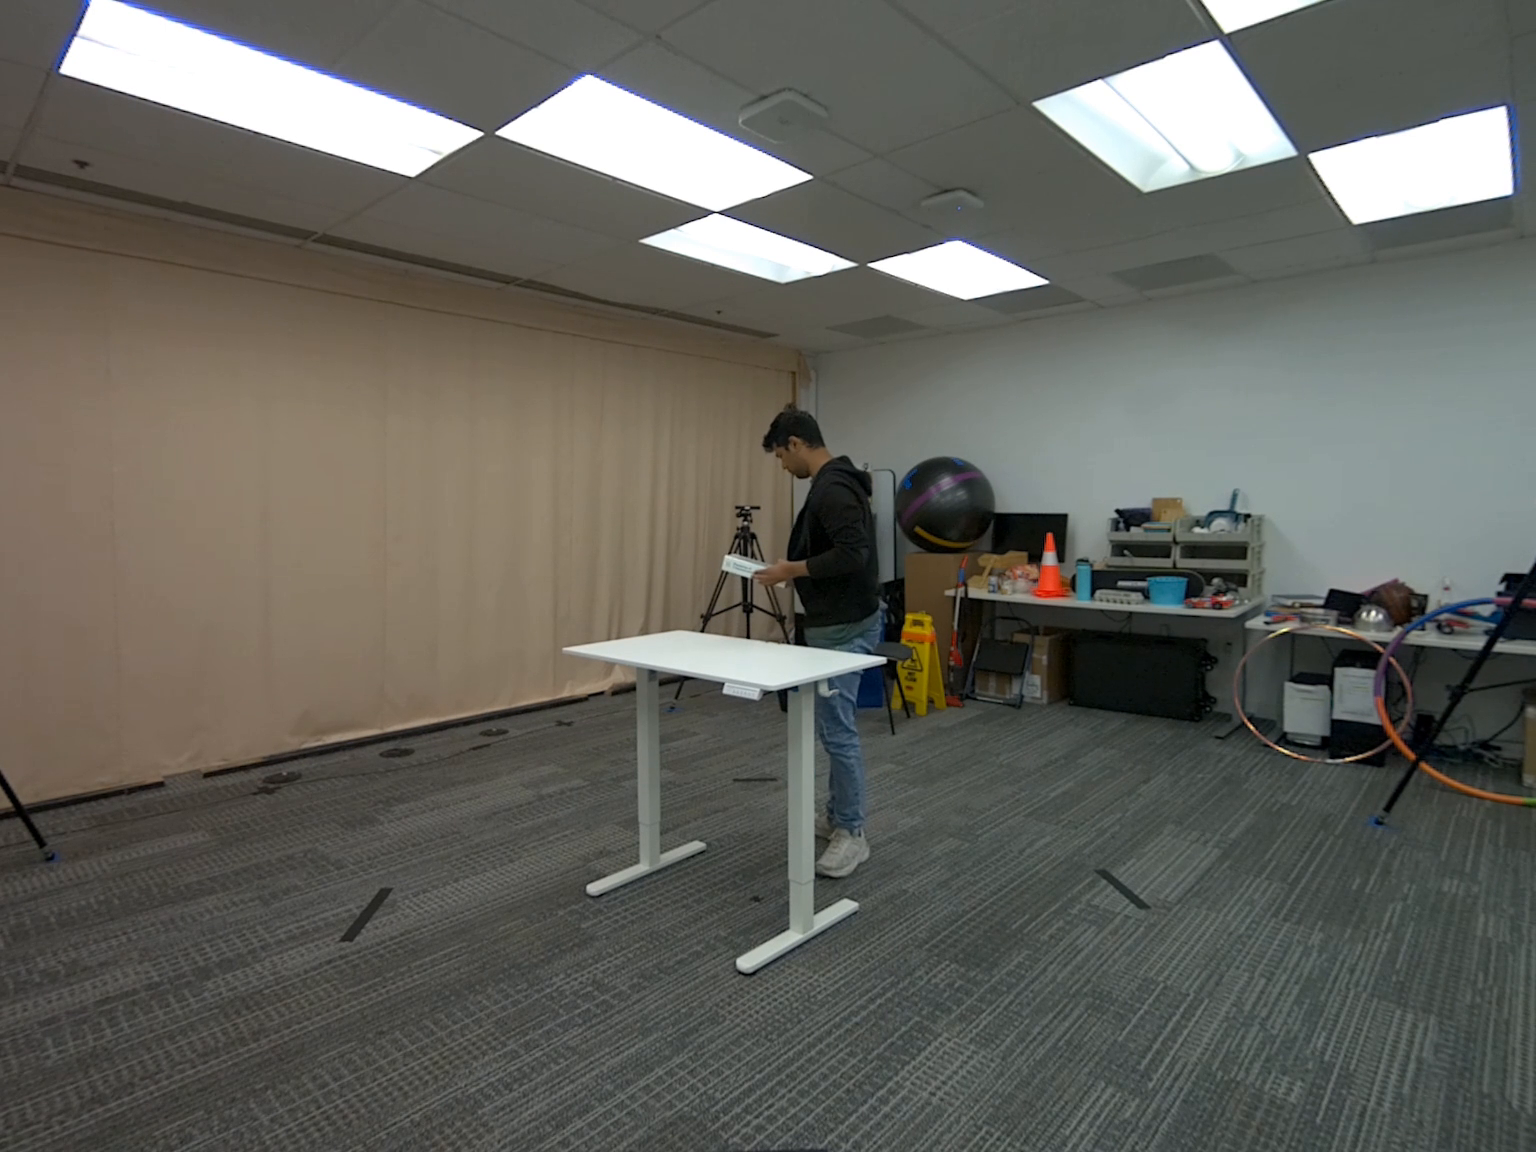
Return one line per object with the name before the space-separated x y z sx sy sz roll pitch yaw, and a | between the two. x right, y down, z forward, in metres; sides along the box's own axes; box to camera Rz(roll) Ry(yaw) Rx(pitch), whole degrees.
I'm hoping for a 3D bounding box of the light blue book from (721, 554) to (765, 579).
light blue book | -0.030 -0.012 3.395 0.264 0.059 0.189 16 6 10
